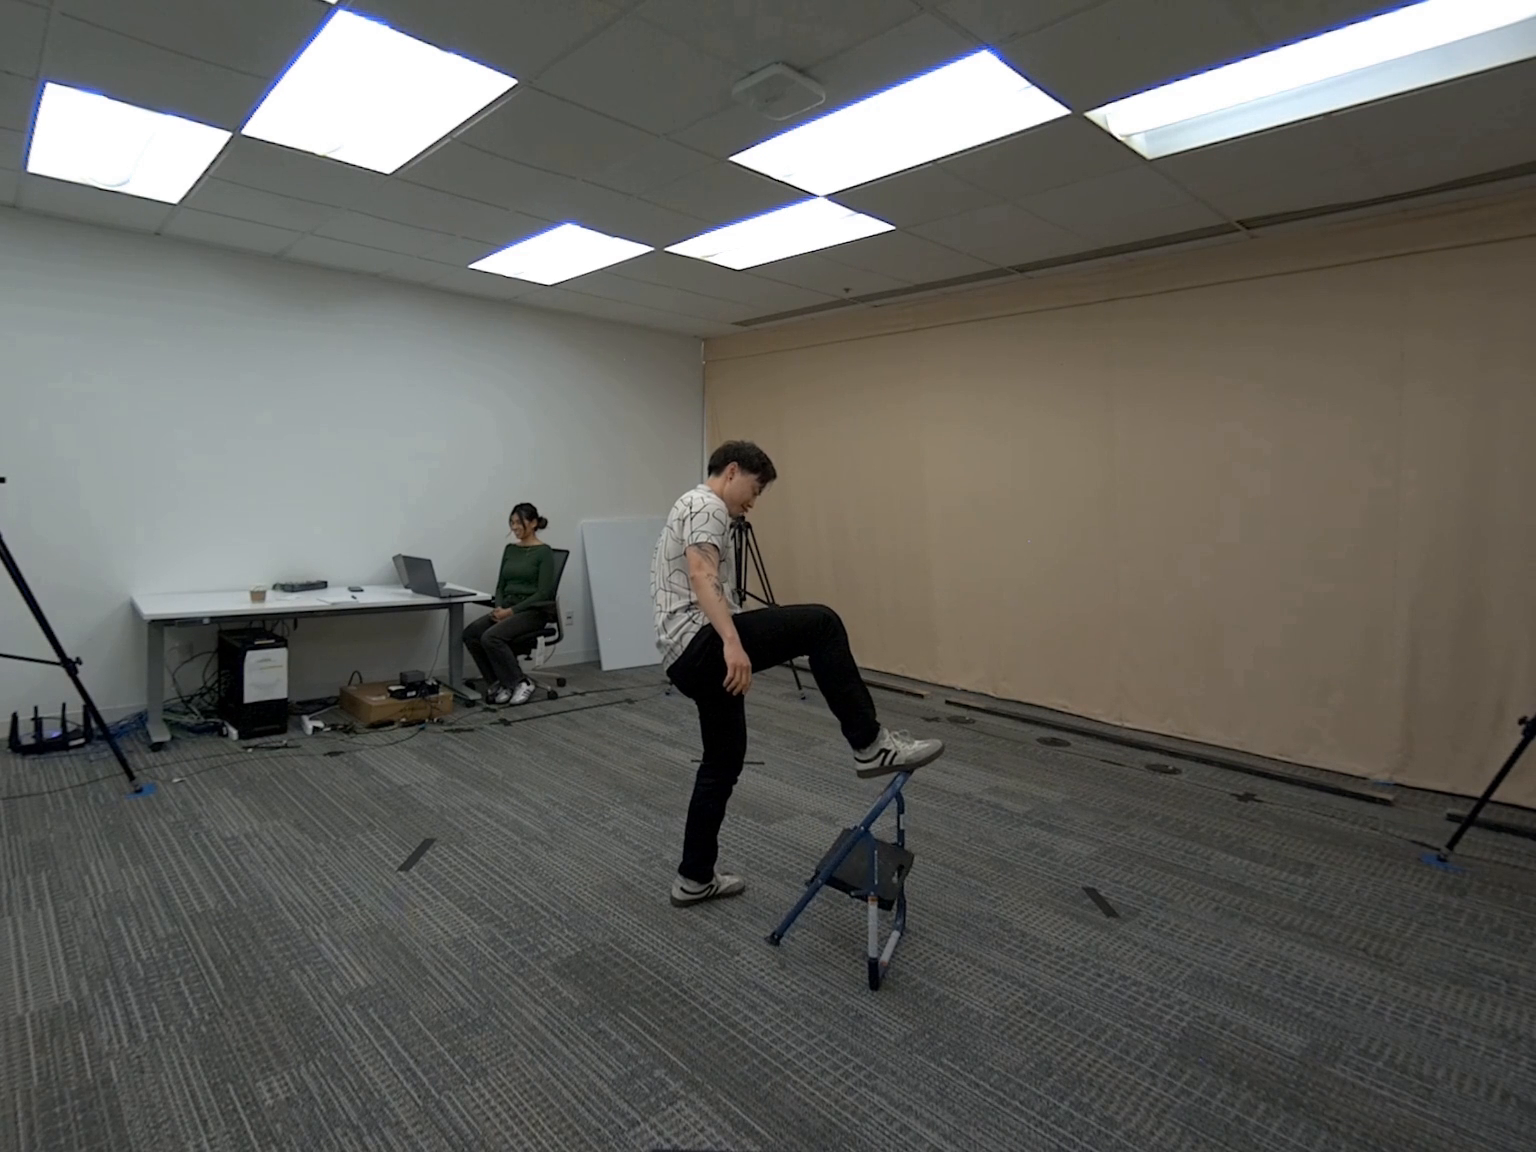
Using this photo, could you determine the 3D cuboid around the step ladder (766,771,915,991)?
[{"bbox_3d":[0.279,0.836,2.592,0.356,0.603,0.425,15,9,19],"label":"step ladder"}]
